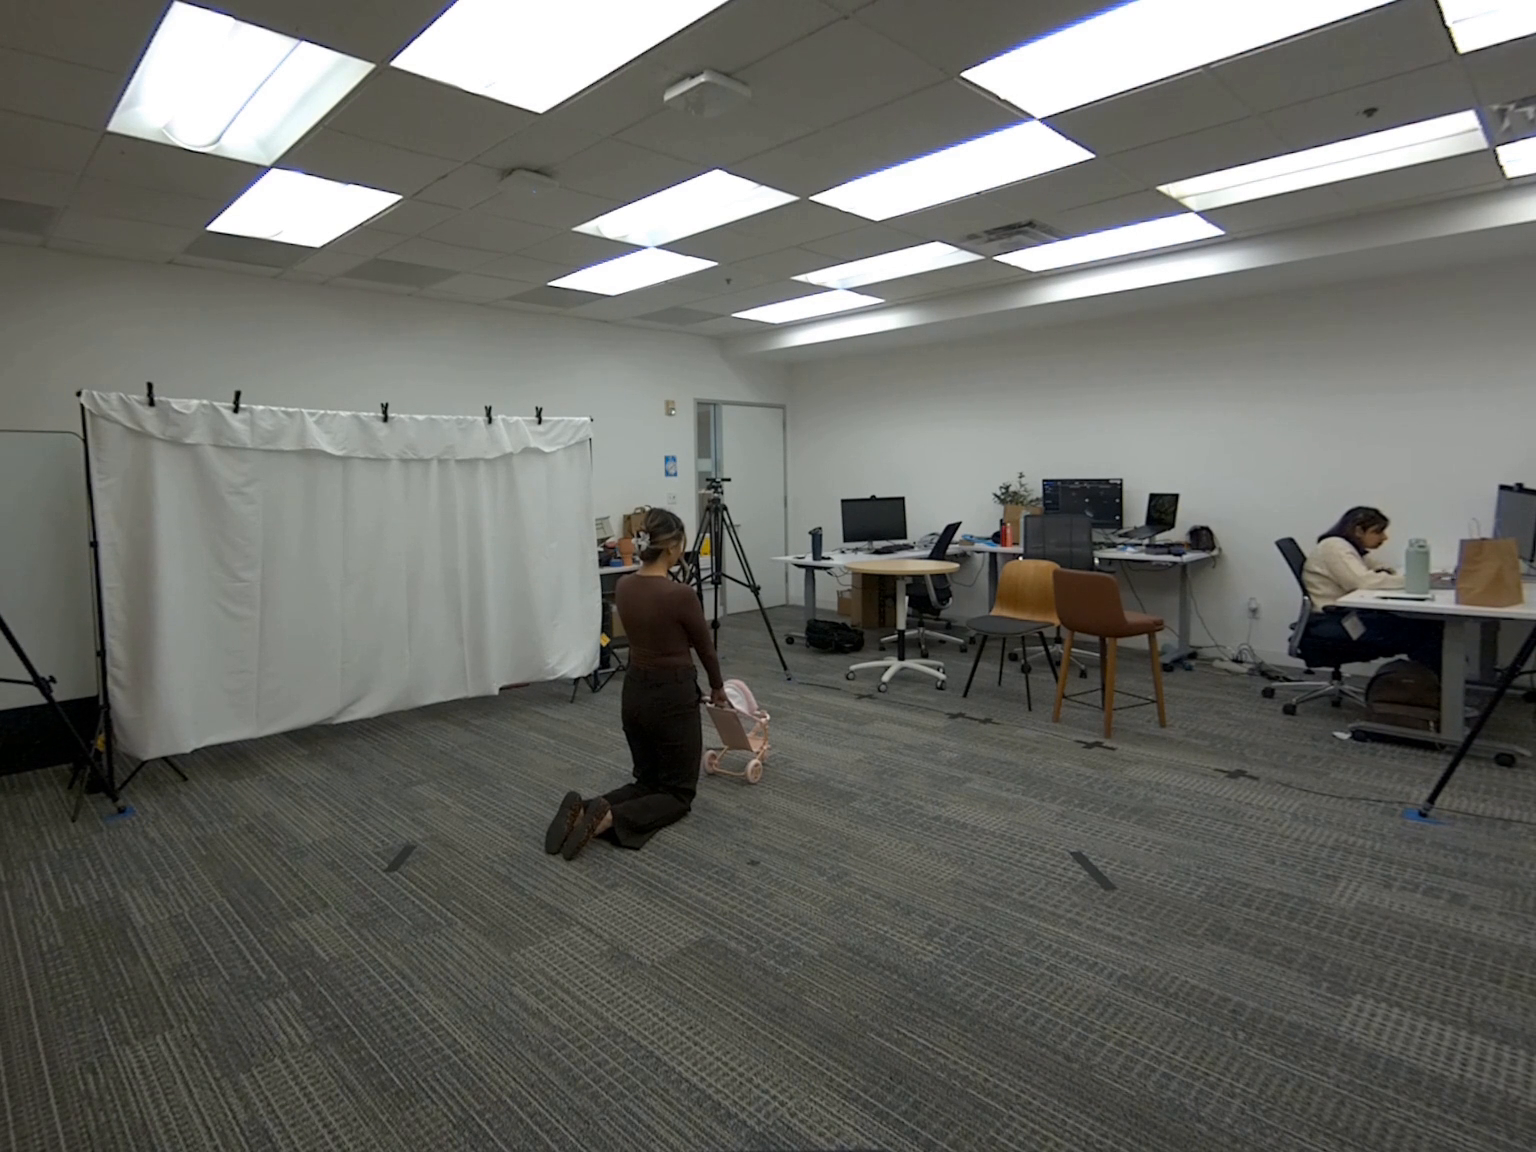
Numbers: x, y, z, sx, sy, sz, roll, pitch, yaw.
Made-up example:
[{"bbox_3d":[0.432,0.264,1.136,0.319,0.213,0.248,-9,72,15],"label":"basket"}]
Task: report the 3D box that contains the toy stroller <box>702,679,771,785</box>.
[{"bbox_3d":[-0.136,0.717,4.029,0.290,0.525,0.337,3,23,39],"label":"toy stroller"}]
